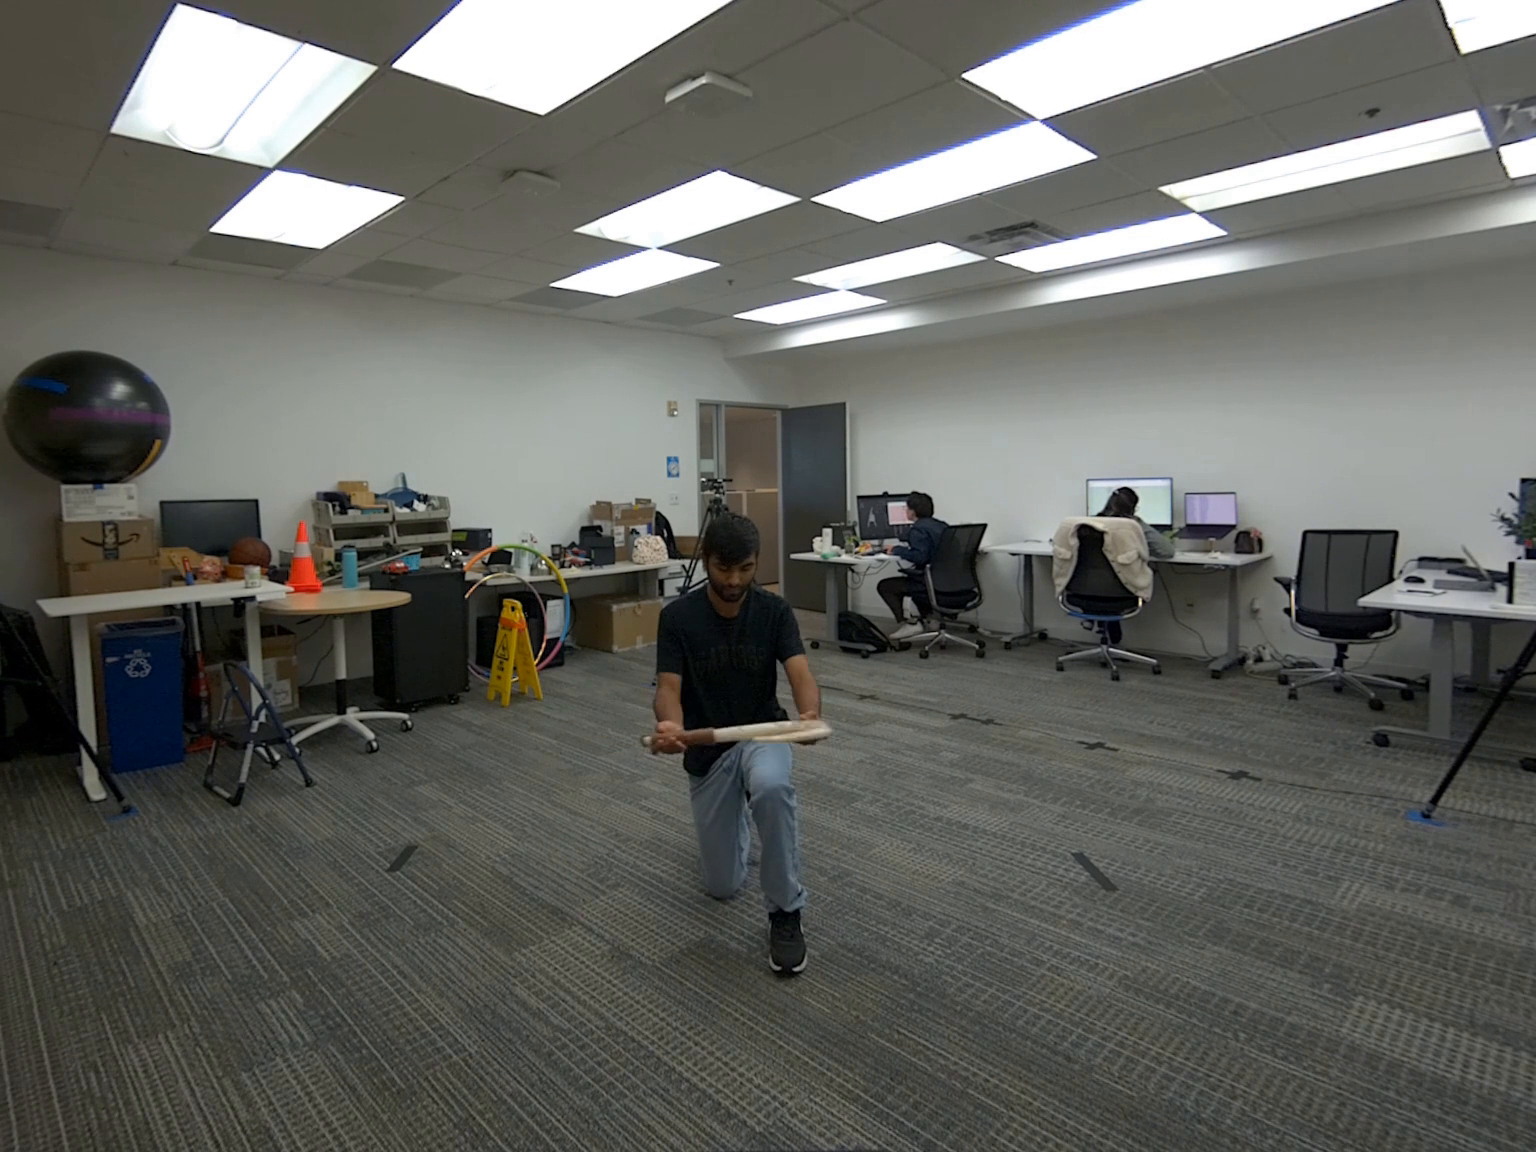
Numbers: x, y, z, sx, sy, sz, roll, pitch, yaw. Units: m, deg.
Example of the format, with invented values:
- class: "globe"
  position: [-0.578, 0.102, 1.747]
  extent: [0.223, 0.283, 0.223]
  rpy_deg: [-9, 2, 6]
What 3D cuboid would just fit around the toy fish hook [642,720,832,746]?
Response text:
- class: "toy fish hook"
  position: [-0.107, 0.417, 2.259]
  extent: [0.509, 0.049, 0.221]
  rpy_deg: [-6, -7, 5]
